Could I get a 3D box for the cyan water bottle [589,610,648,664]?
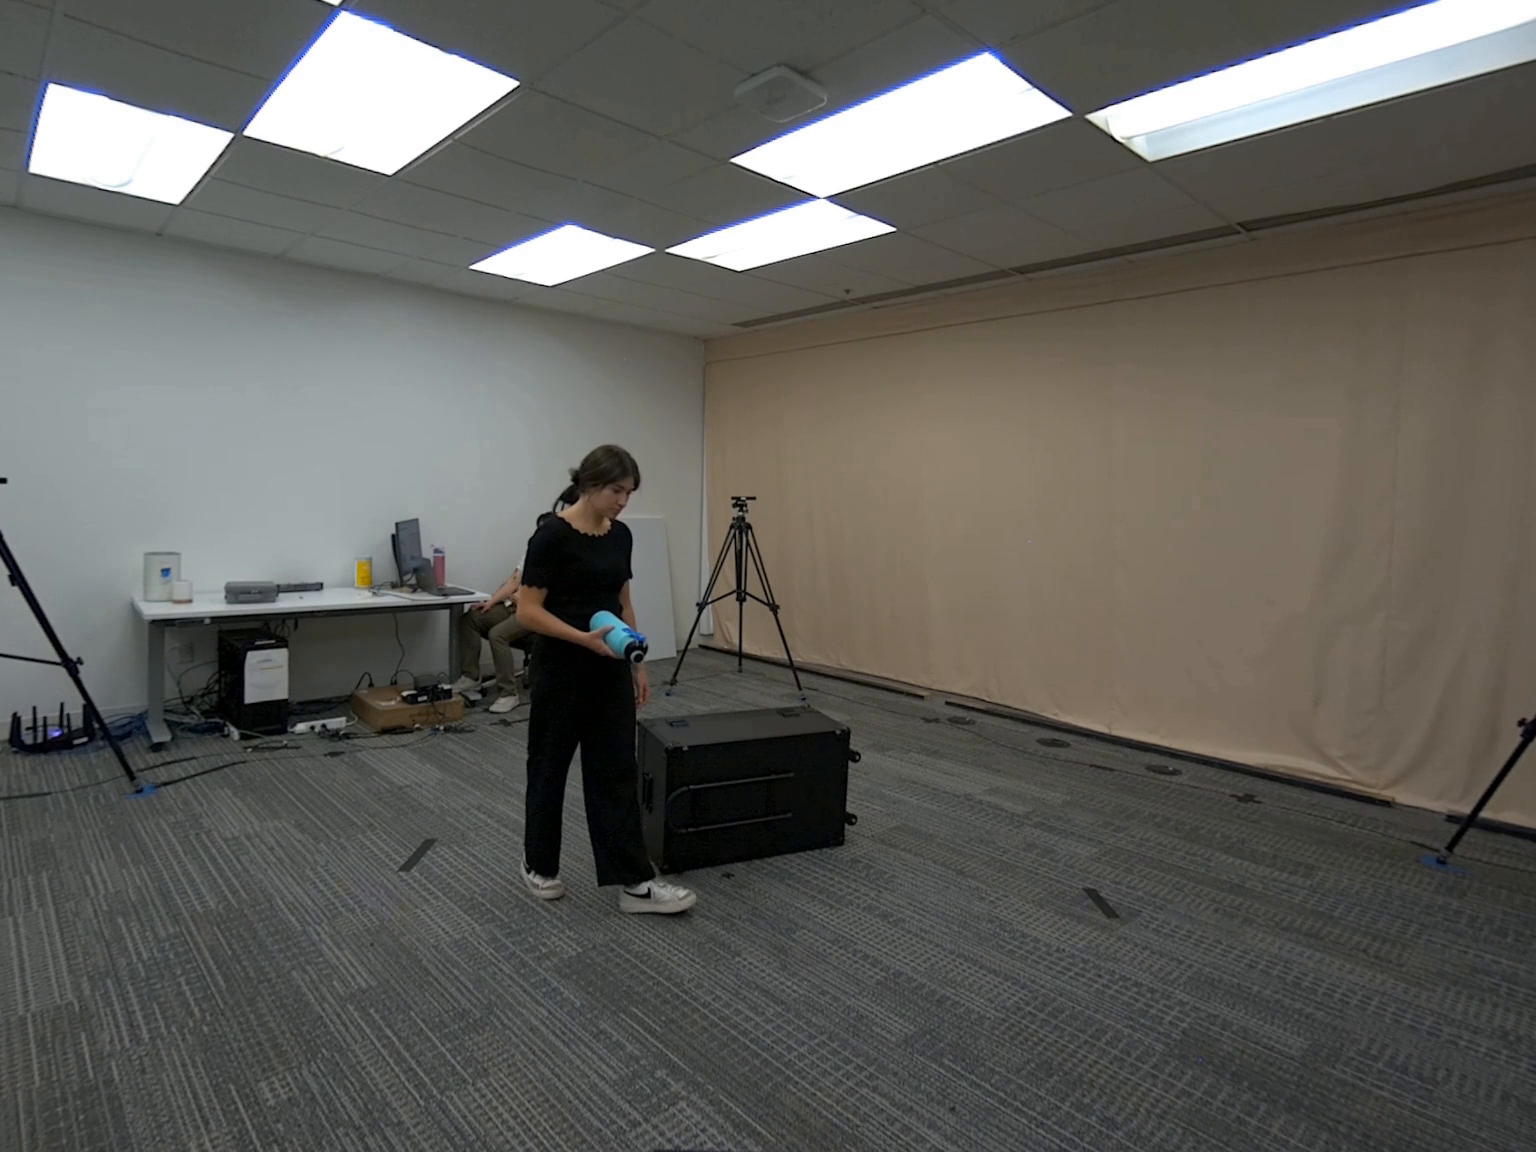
[{"bbox_3d":[-0.467,0.191,2.653,0.090,0.091,0.292,-2,15,-36],"label":"cyan water bottle"}]
